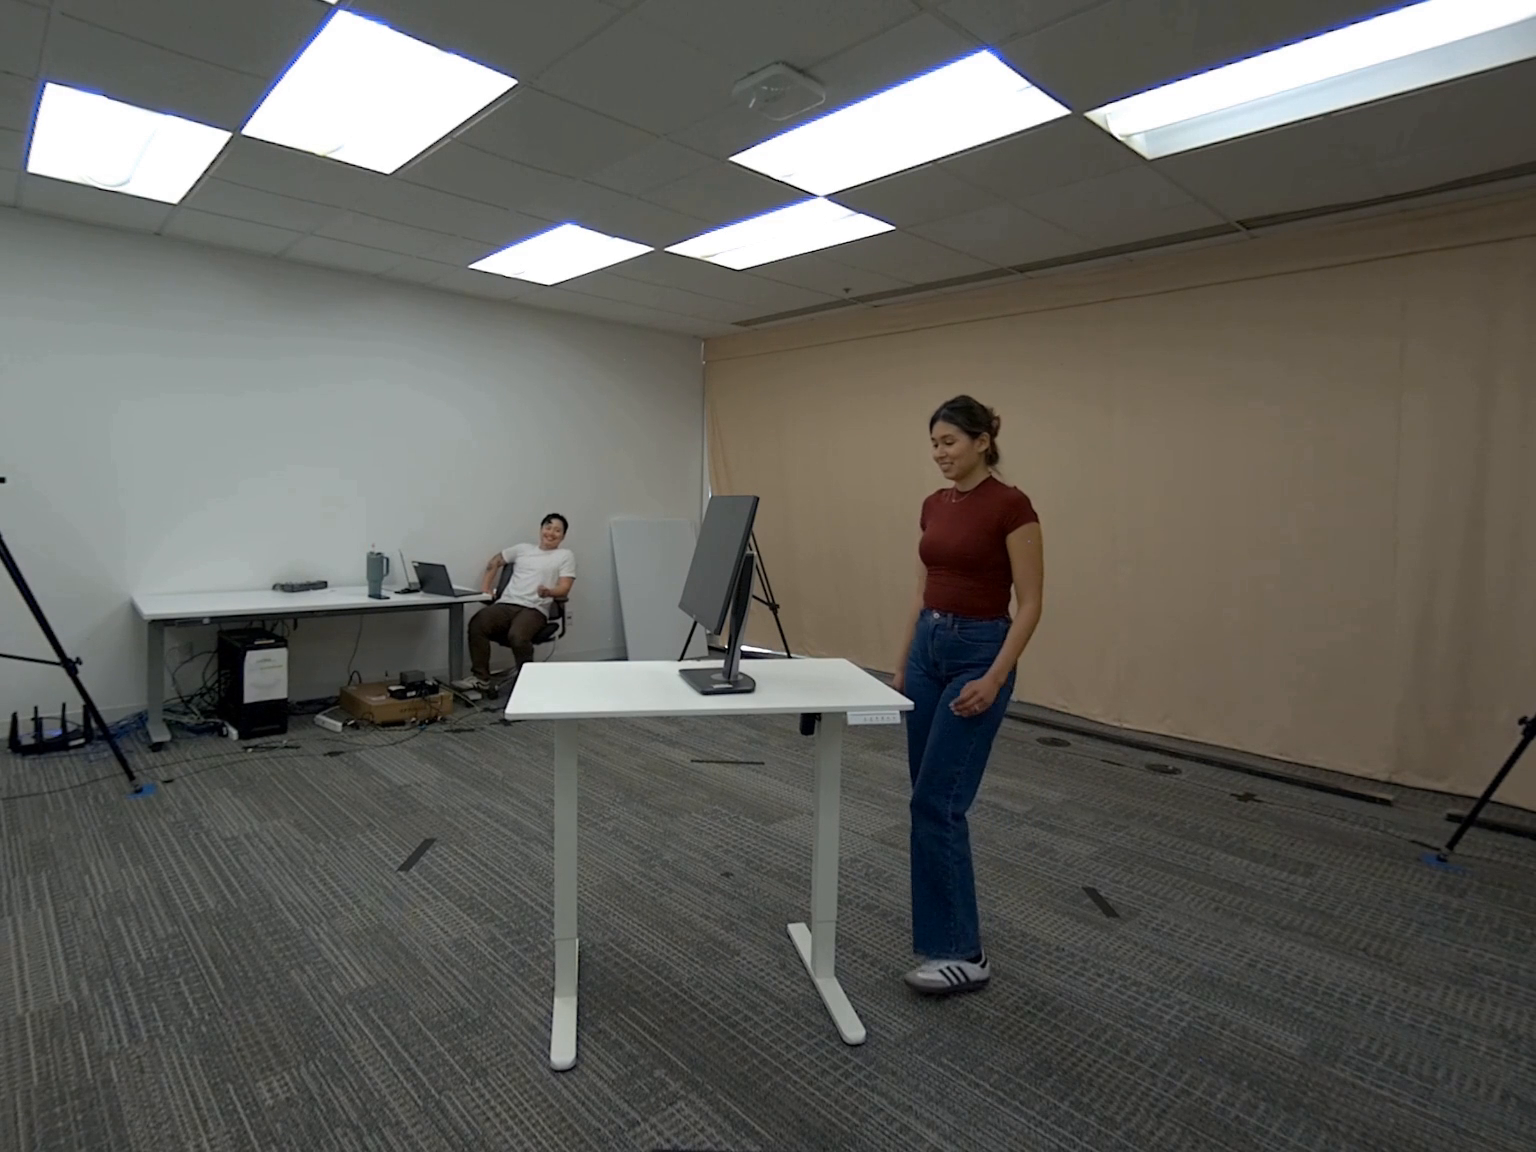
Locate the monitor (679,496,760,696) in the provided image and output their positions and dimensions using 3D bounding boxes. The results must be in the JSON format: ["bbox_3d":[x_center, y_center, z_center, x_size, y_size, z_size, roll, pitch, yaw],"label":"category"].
[{"bbox_3d":[-0.119,0.043,2.299,0.184,0.522,0.547,2,3,-17],"label":"monitor"}]
